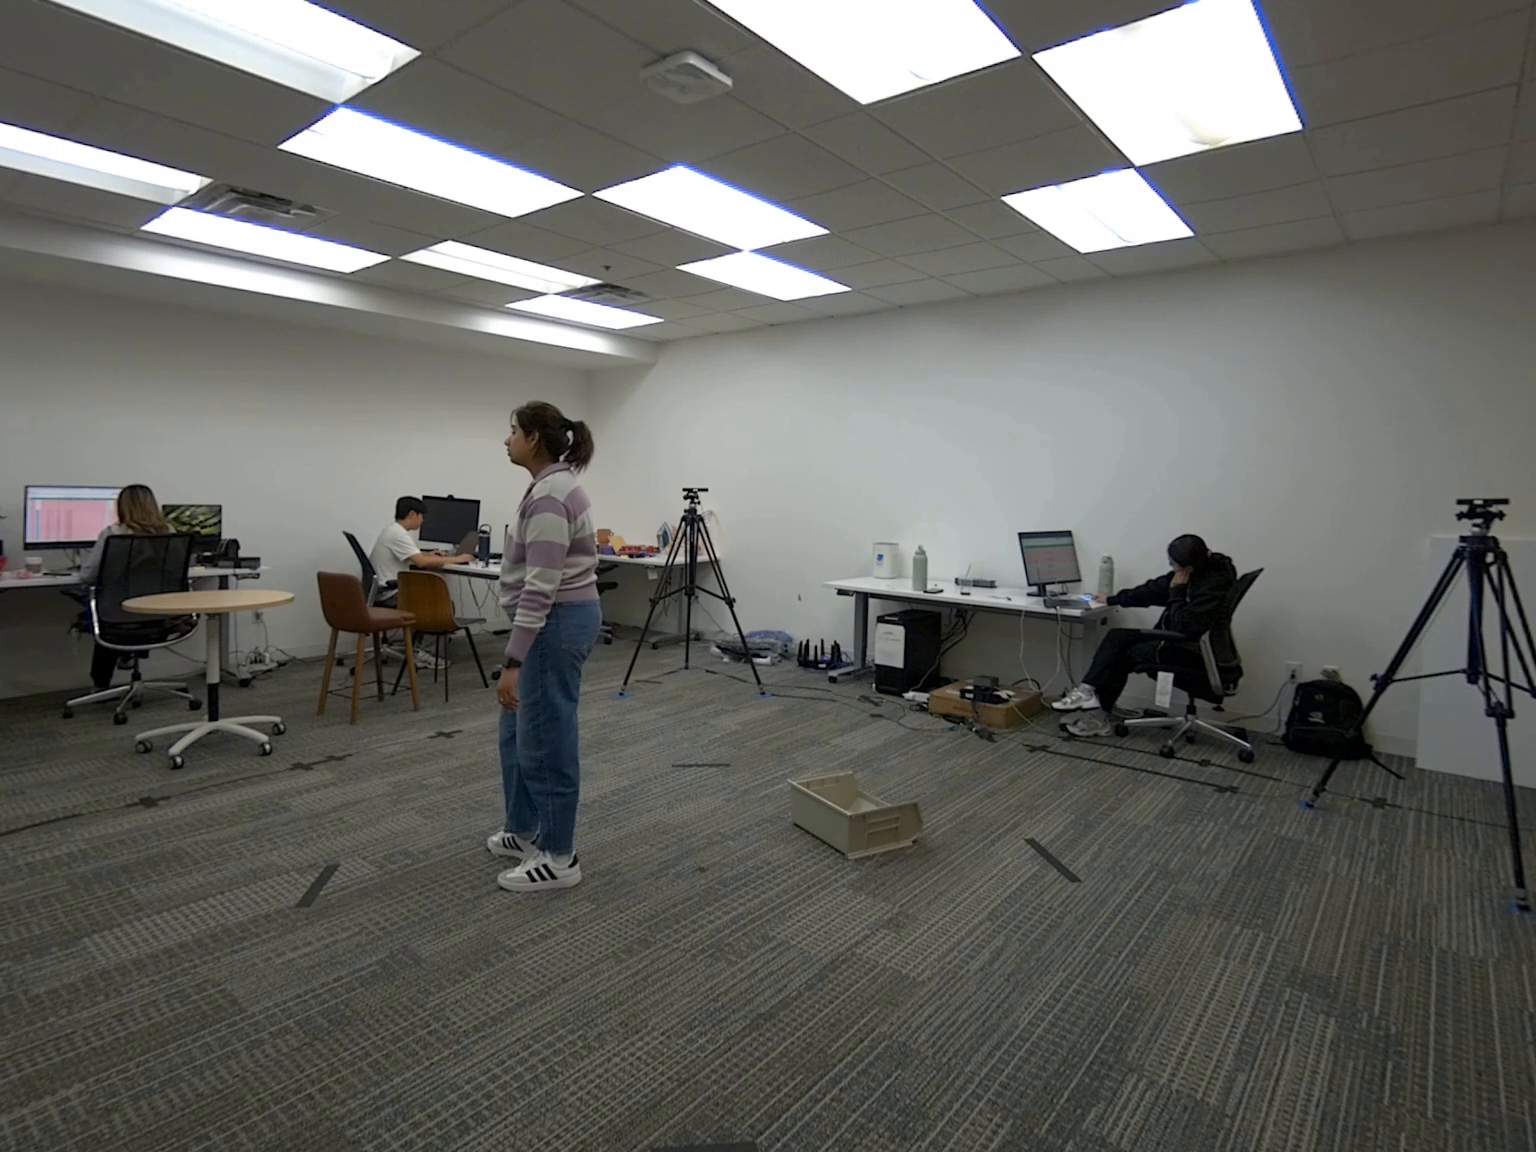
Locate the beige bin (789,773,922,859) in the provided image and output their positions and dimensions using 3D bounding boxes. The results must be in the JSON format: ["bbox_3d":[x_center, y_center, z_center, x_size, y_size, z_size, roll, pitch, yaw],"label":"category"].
[{"bbox_3d":[0.344,0.958,3.474,0.367,0.188,0.435,-3,7,-31],"label":"beige bin"}]
